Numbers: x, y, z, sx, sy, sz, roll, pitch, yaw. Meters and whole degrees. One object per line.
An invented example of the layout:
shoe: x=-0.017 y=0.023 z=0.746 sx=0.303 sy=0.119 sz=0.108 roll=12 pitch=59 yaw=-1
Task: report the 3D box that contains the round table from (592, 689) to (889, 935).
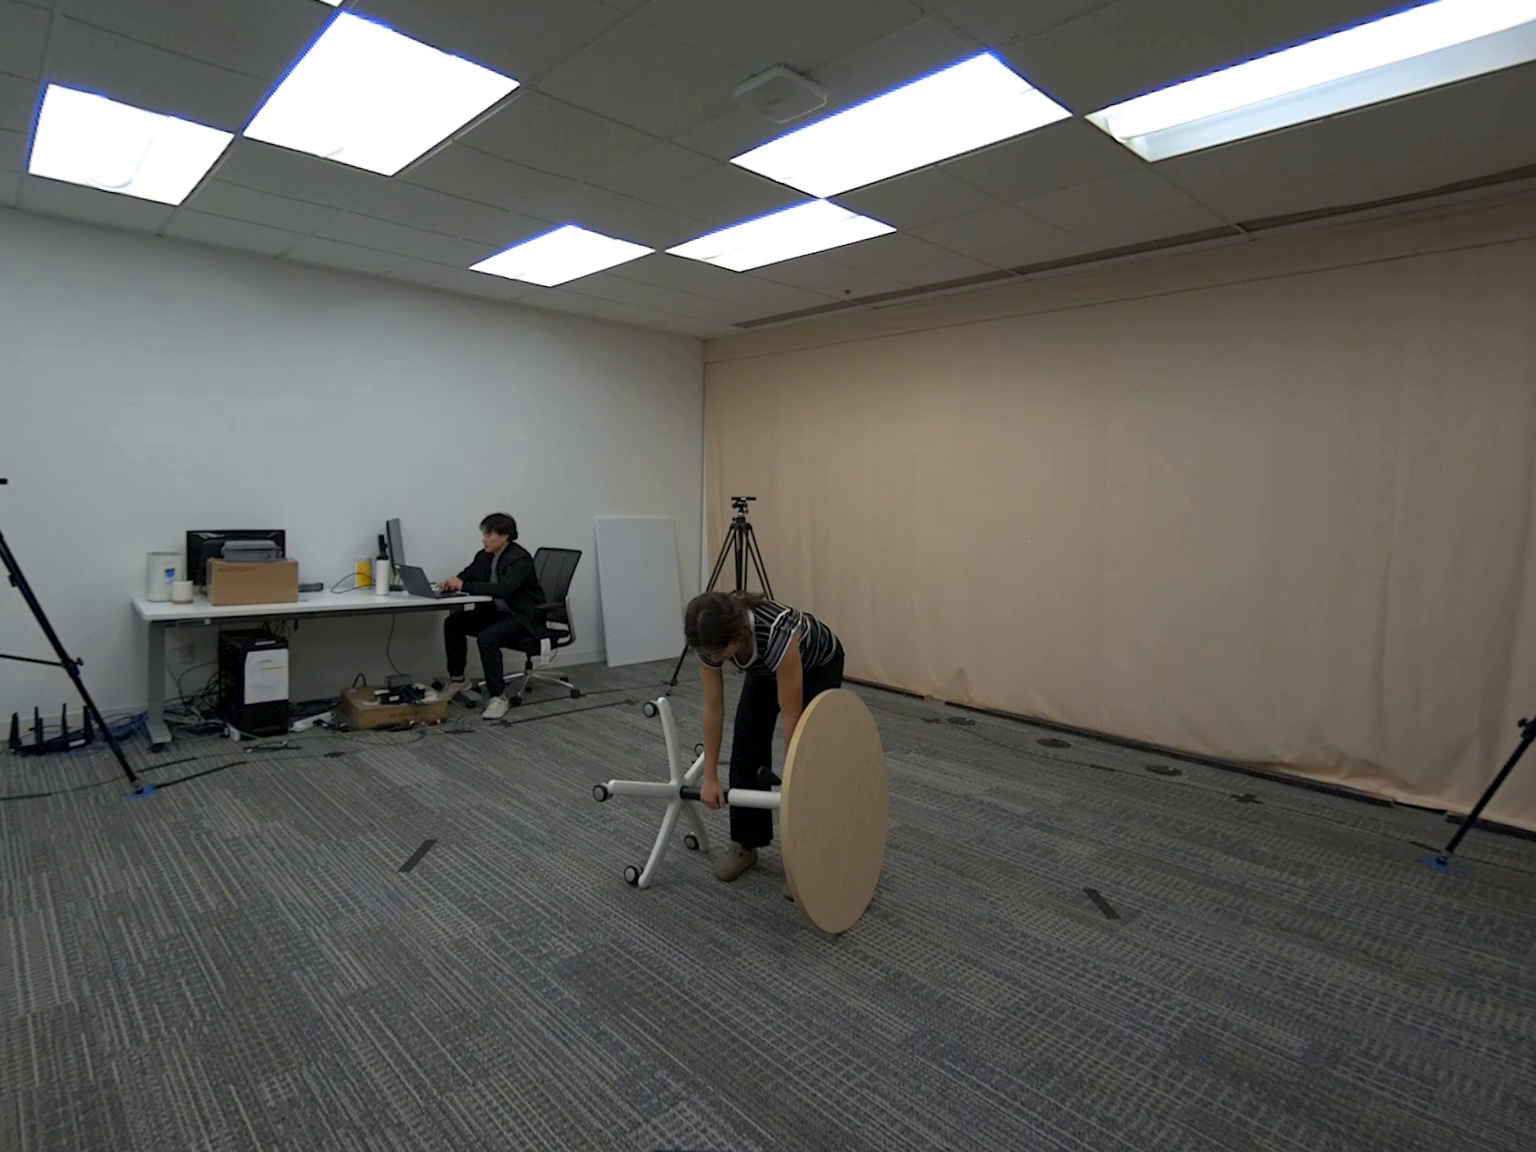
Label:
round table: x=-0.101 y=0.791 z=2.990 sx=0.809 sy=0.764 sz=0.749 roll=-5 pitch=0 yaw=32
